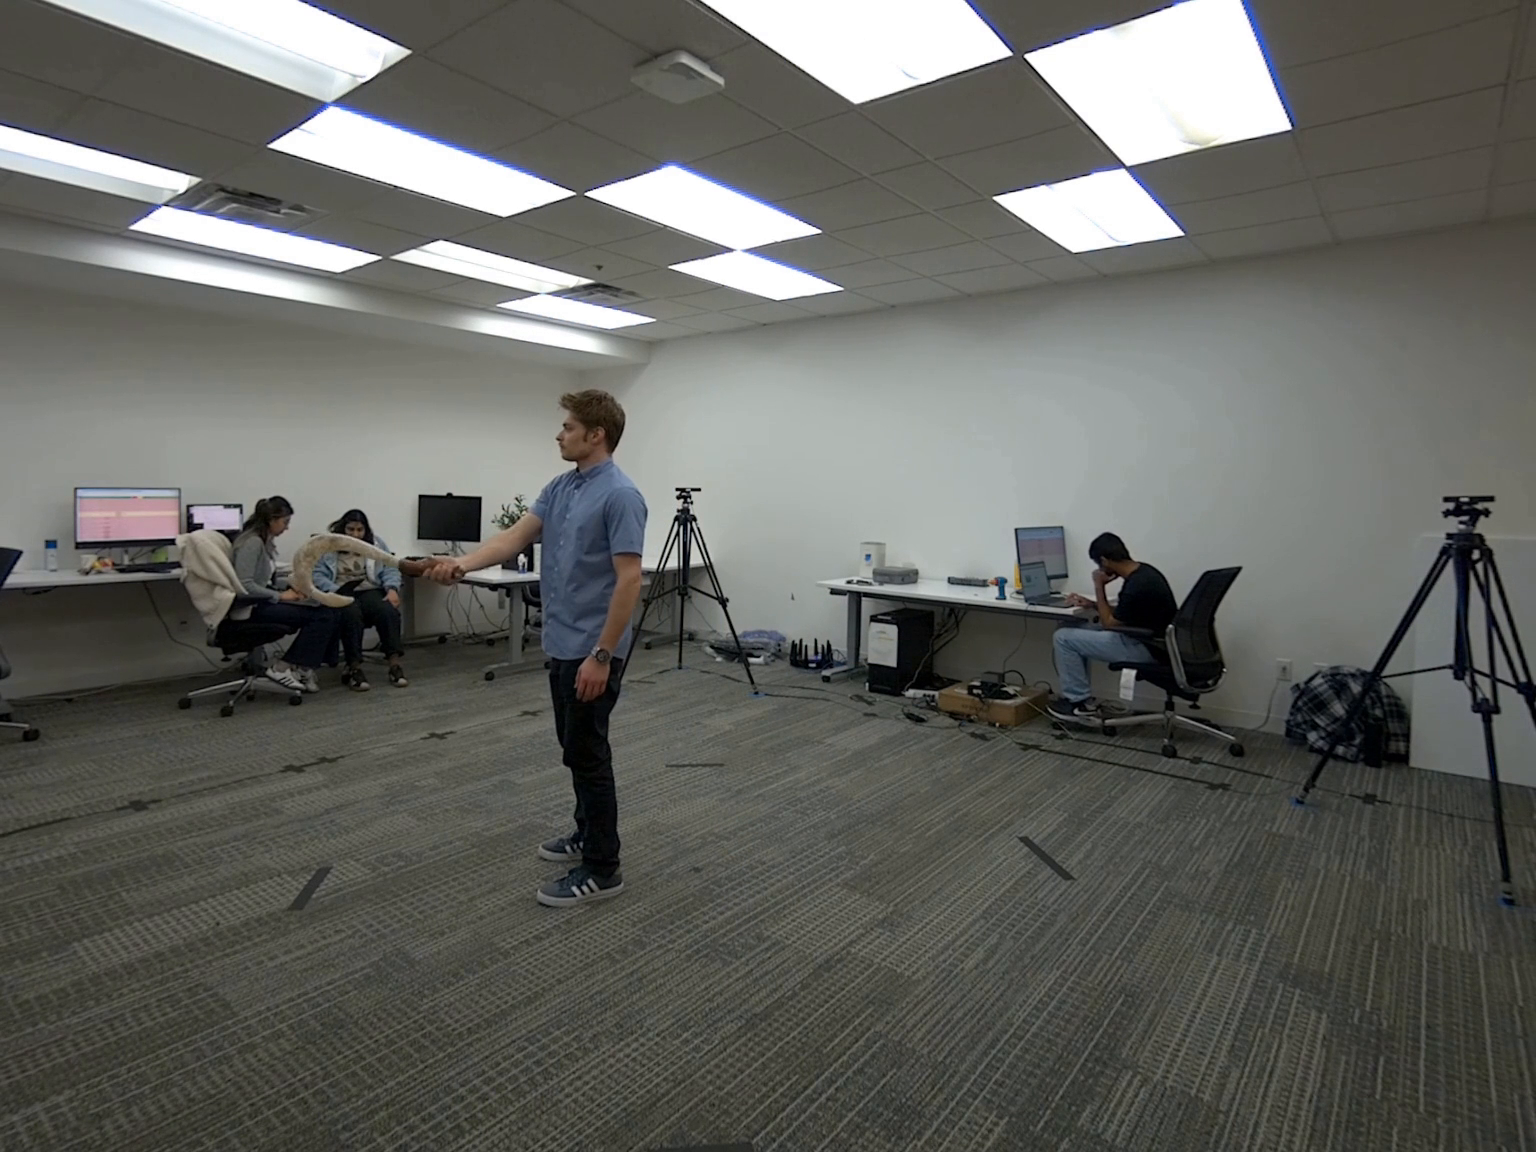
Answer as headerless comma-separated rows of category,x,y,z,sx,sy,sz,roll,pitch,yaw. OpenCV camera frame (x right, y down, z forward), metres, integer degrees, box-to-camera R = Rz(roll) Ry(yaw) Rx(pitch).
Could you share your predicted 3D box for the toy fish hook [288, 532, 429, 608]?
toy fish hook,-1.222,-0.008,2.652,0.500,0.227,0.048,10,-14,-10
